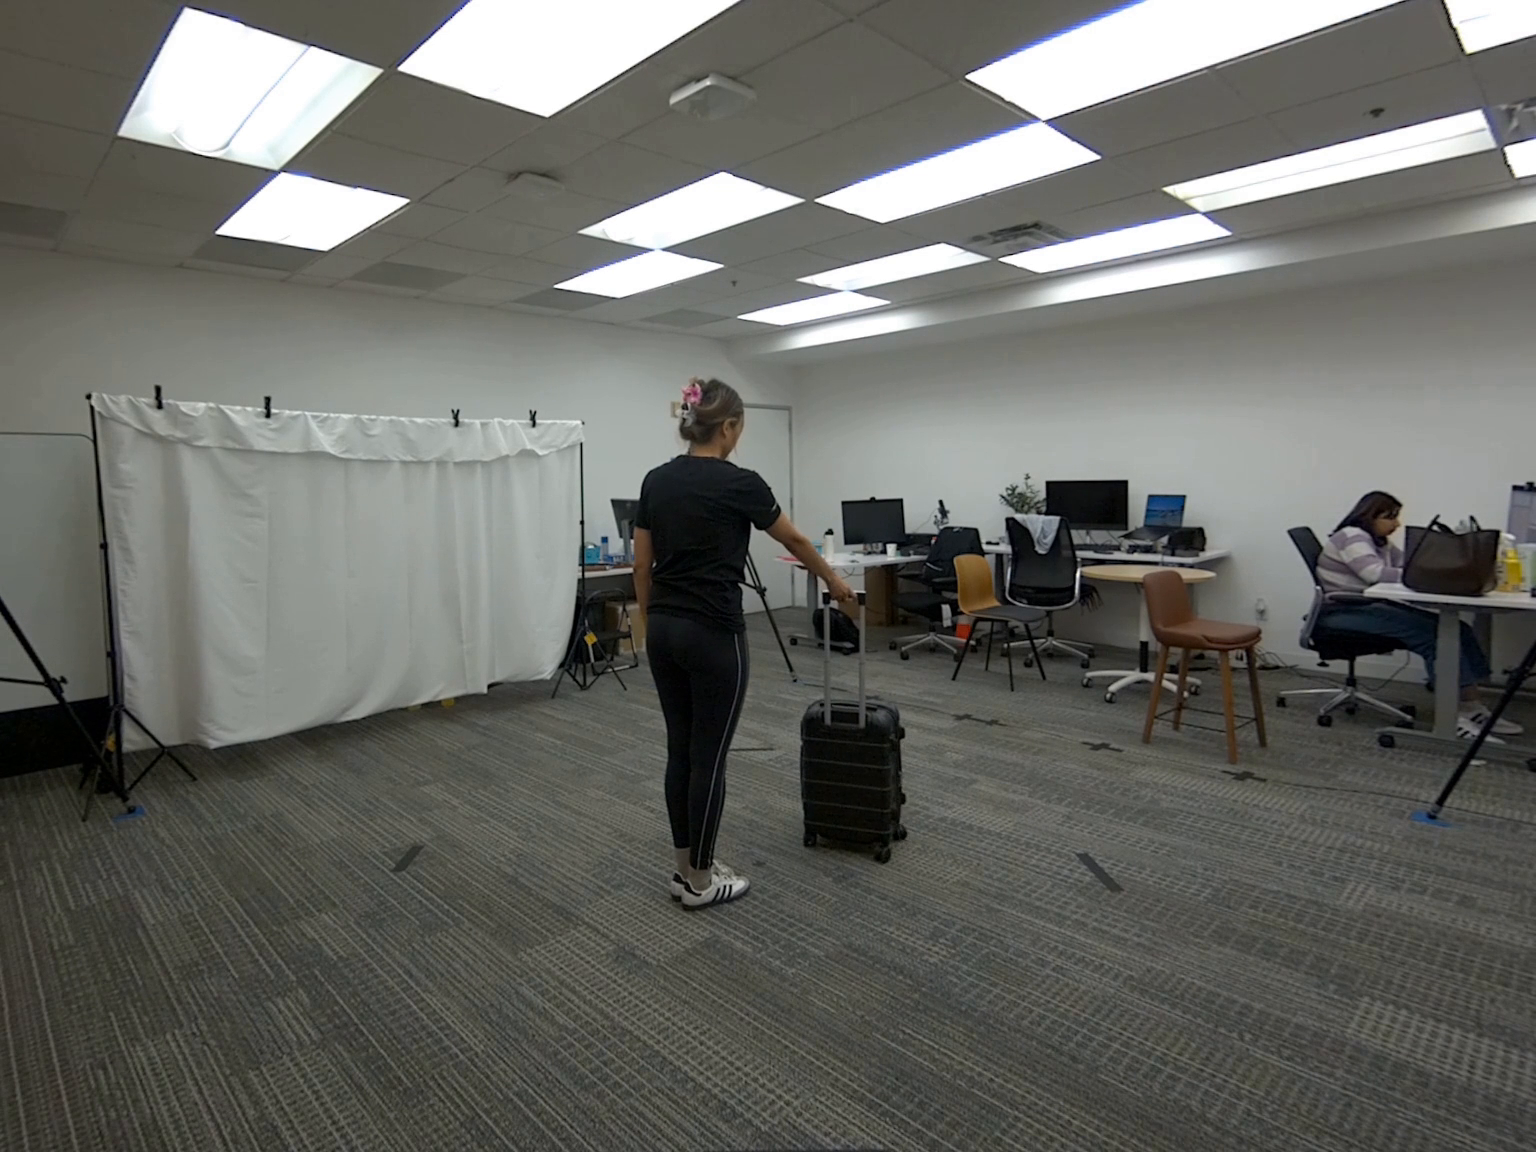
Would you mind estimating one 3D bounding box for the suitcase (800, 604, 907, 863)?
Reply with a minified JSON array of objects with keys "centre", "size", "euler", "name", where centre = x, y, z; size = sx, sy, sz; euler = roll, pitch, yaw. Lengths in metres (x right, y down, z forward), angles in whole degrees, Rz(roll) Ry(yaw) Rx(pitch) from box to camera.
[{"centre":[0.322,0.552,3.262],"size":[0.392,0.977,0.252],"euler":[0,2,22],"name":"suitcase"}]
